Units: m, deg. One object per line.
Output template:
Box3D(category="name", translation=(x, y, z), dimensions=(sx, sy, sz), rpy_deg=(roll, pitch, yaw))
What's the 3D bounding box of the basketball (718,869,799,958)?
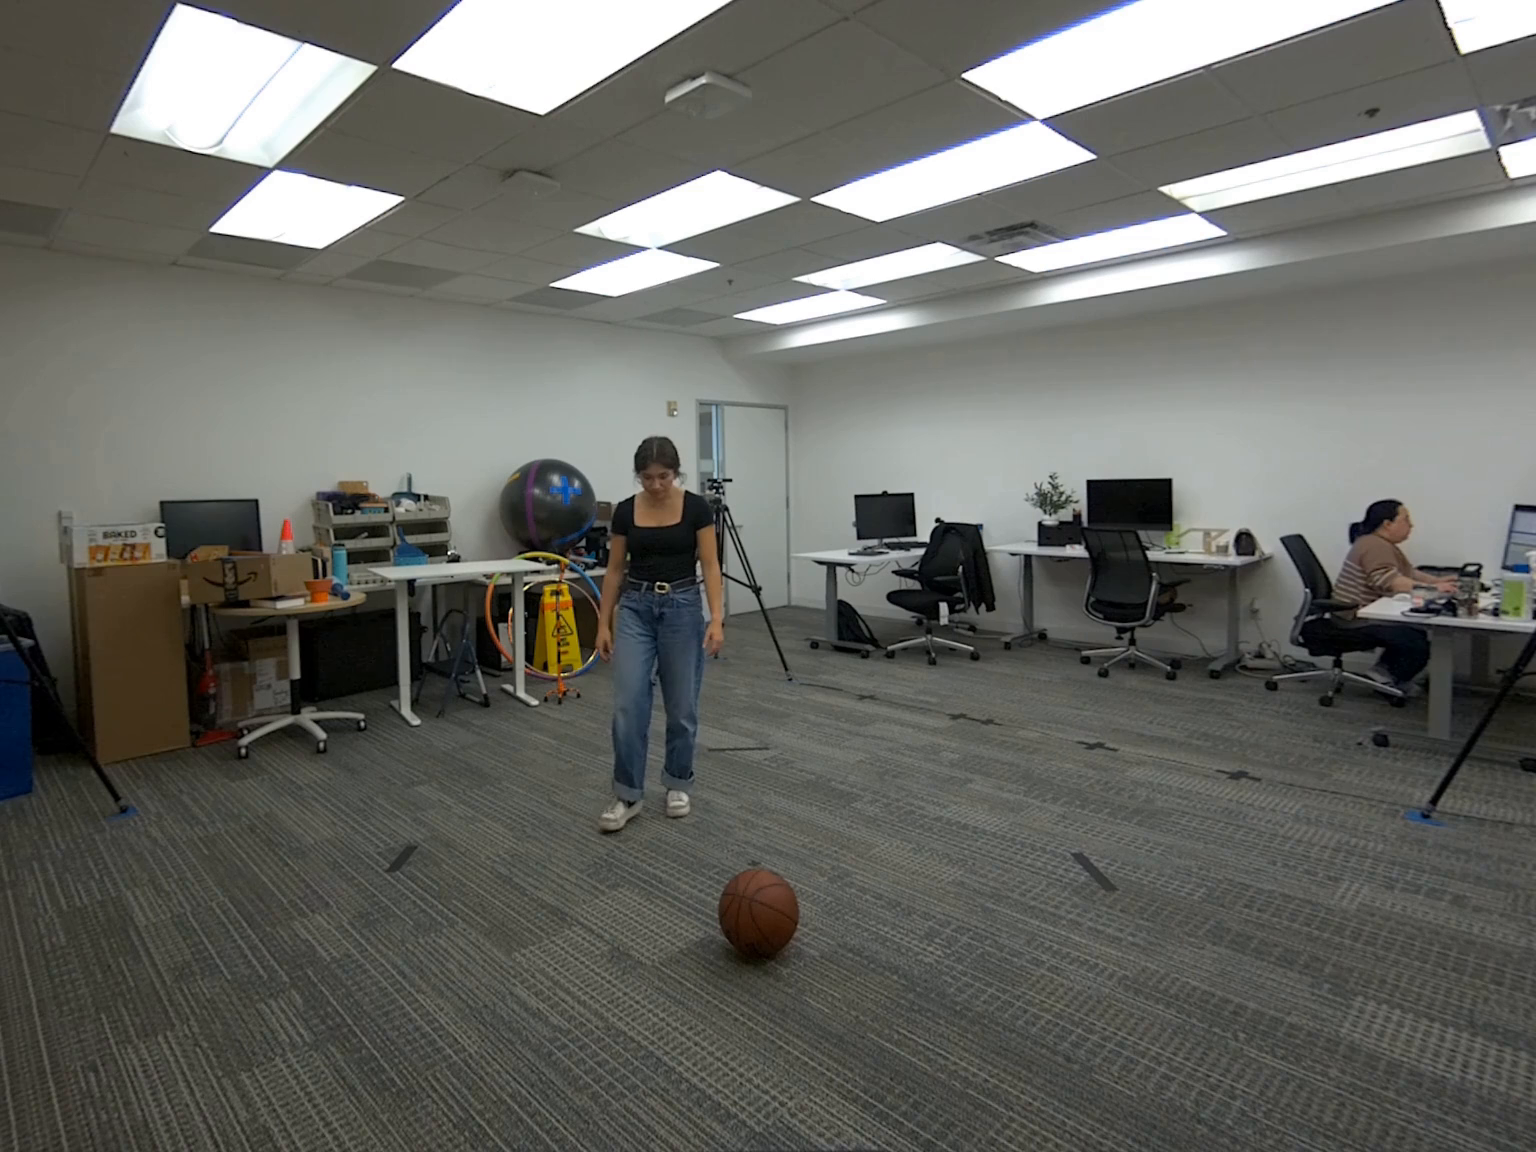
Box3D(category="basketball", translation=(-0.020, 0.993, 2.524), dimensions=(0.236, 0.235, 0.237), rpy_deg=(-1, 5, -2))
